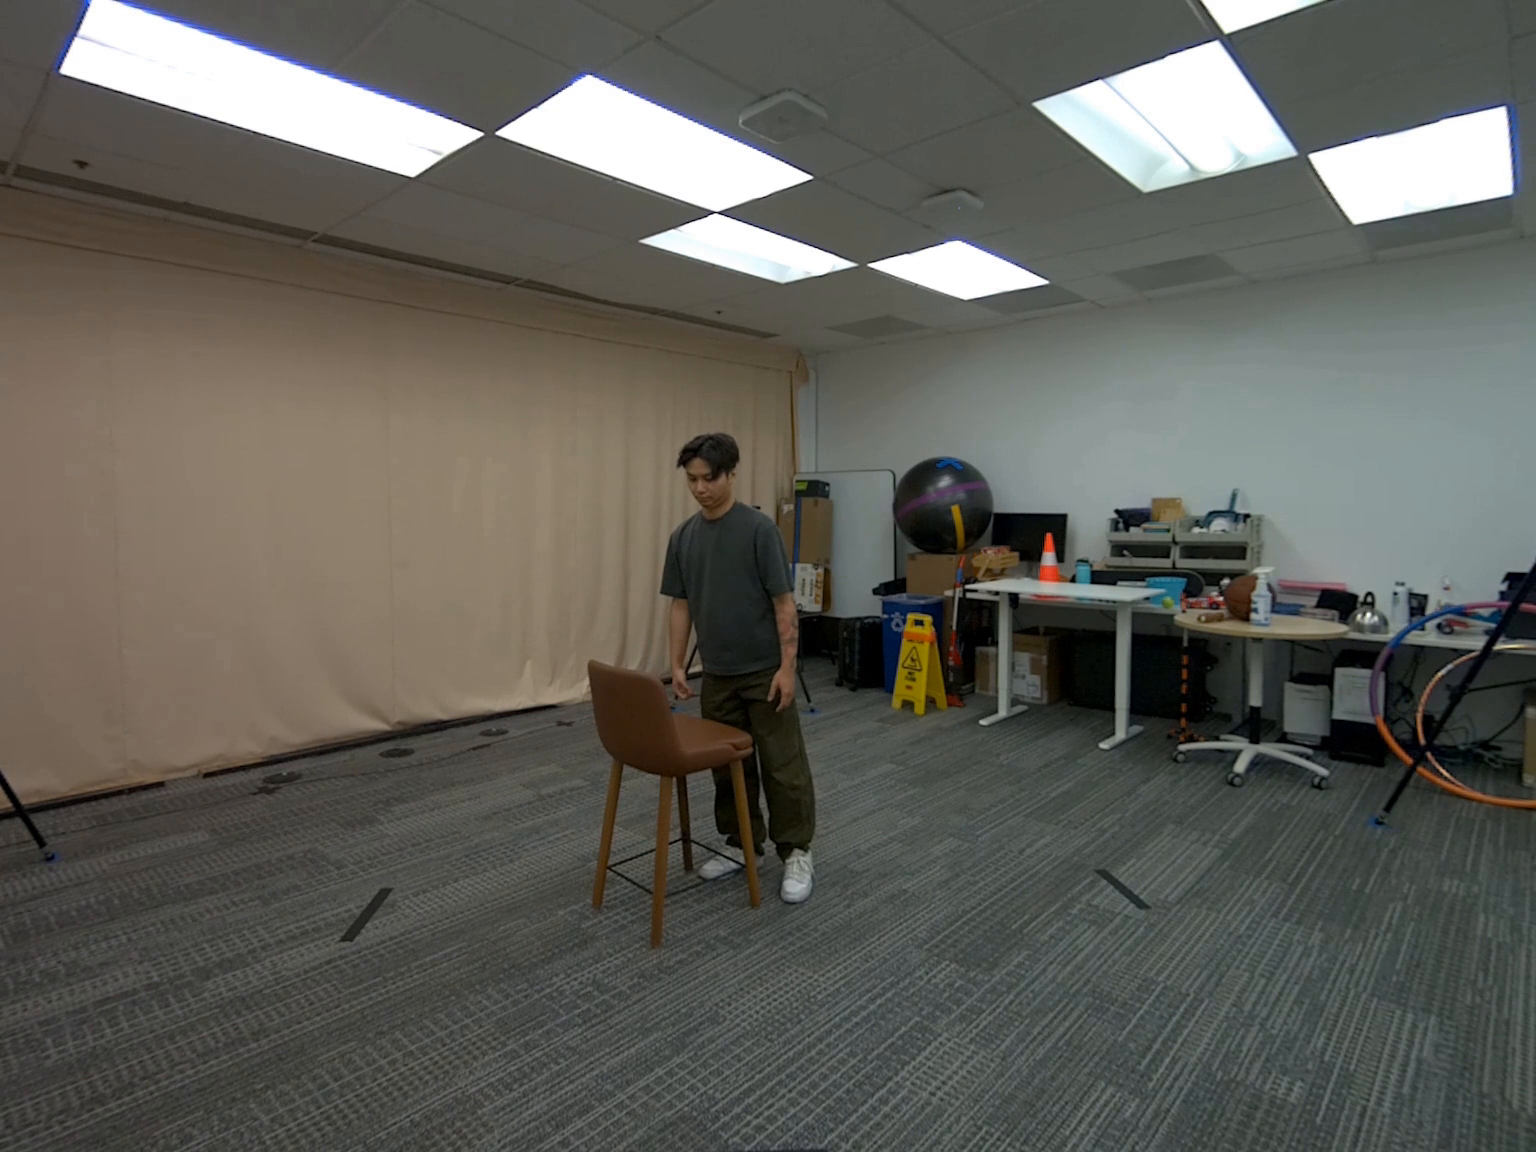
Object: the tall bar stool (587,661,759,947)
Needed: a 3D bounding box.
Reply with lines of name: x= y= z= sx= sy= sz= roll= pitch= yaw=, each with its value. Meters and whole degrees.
tall bar stool: x=-0.326 y=0.714 z=2.909 sx=0.453 sy=0.887 sz=0.471 roll=-5 pitch=5 yaw=-41
